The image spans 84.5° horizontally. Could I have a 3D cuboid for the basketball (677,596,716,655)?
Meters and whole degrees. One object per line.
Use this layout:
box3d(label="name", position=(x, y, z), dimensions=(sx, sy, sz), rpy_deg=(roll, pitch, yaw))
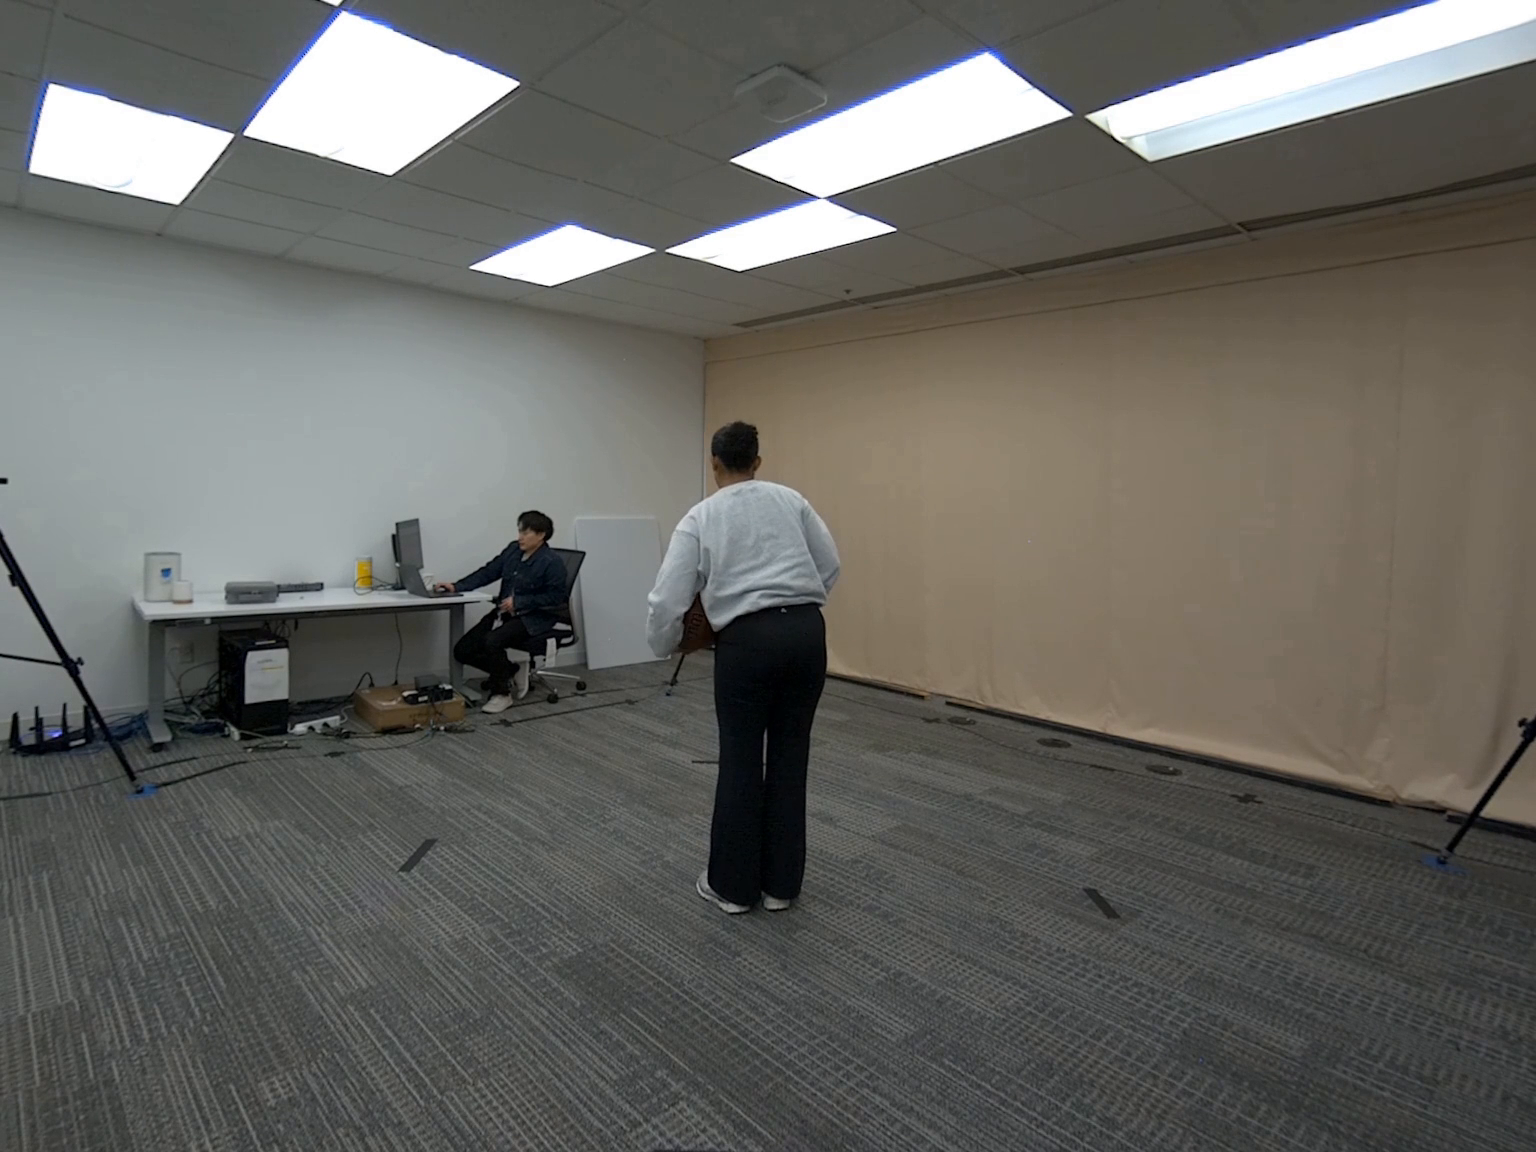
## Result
box3d(label="basketball", position=(-0.253, 0.138, 2.968), dimensions=(0.236, 0.235, 0.237), rpy_deg=(1, 4, -1))
